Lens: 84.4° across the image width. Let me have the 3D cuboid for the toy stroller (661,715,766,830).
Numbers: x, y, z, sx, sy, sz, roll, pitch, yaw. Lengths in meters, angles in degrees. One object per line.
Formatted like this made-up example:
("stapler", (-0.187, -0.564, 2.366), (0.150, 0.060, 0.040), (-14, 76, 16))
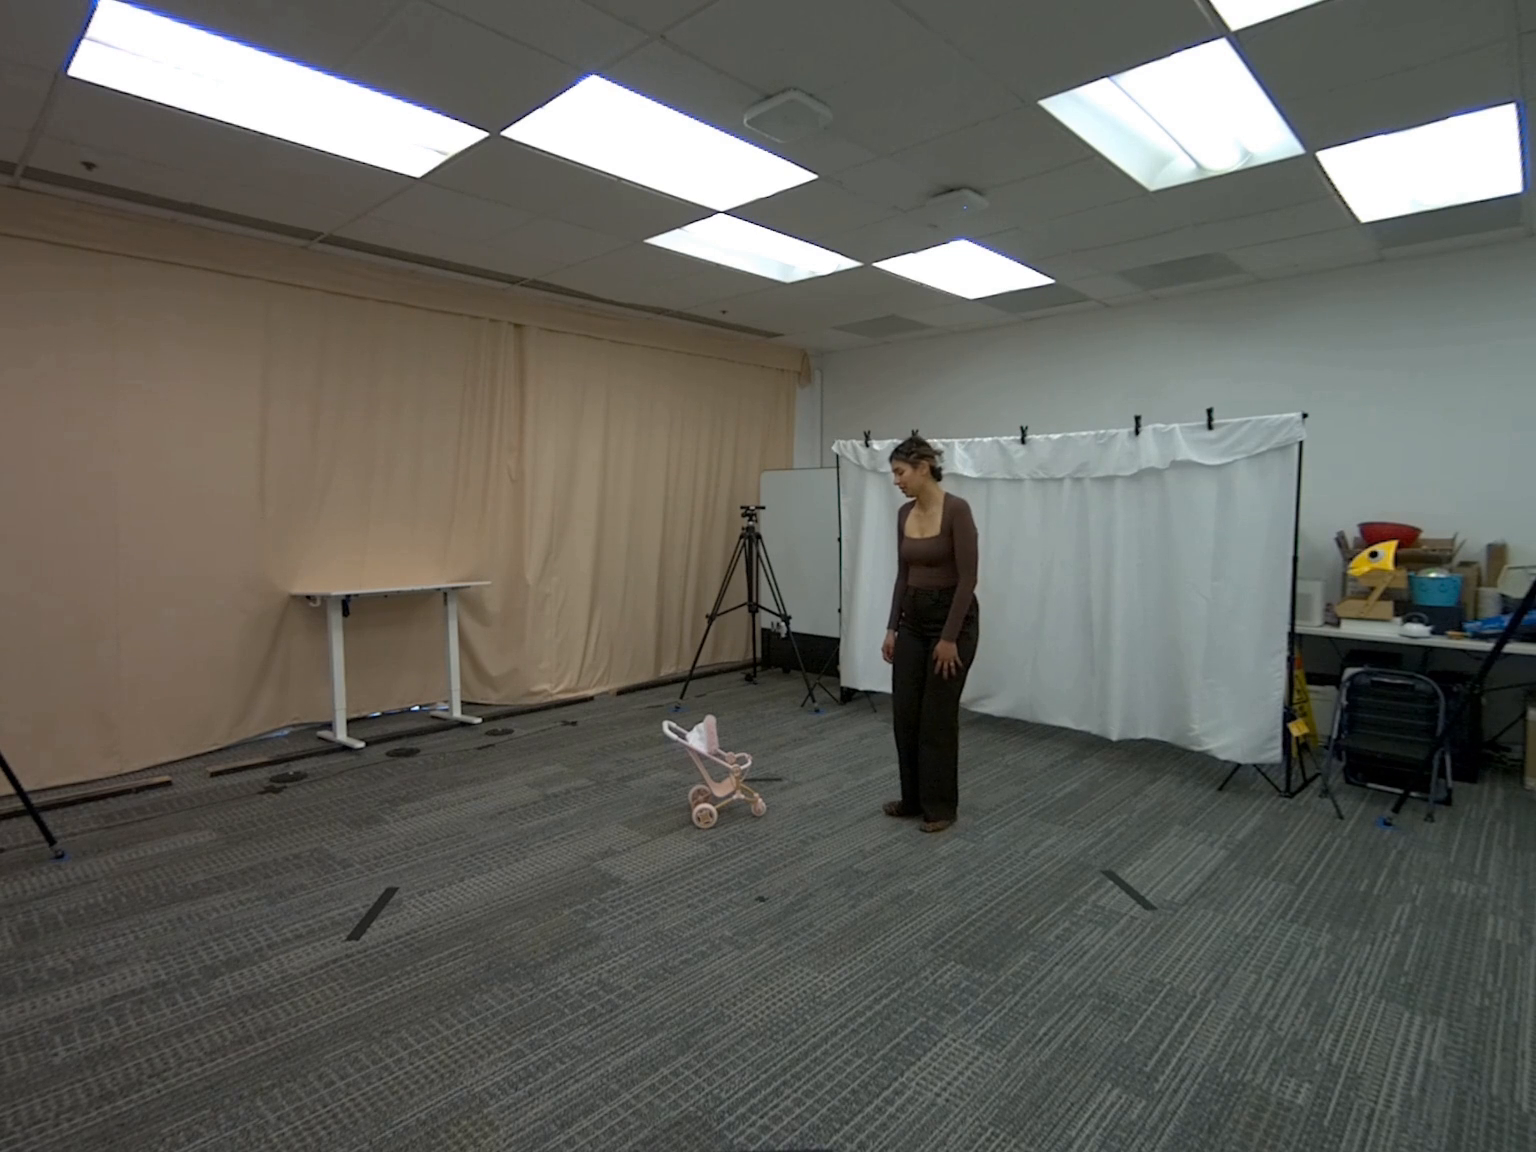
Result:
("toy stroller", (-0.228, 0.856, 3.759), (0.341, 0.533, 0.283), (-17, 4, -1))
